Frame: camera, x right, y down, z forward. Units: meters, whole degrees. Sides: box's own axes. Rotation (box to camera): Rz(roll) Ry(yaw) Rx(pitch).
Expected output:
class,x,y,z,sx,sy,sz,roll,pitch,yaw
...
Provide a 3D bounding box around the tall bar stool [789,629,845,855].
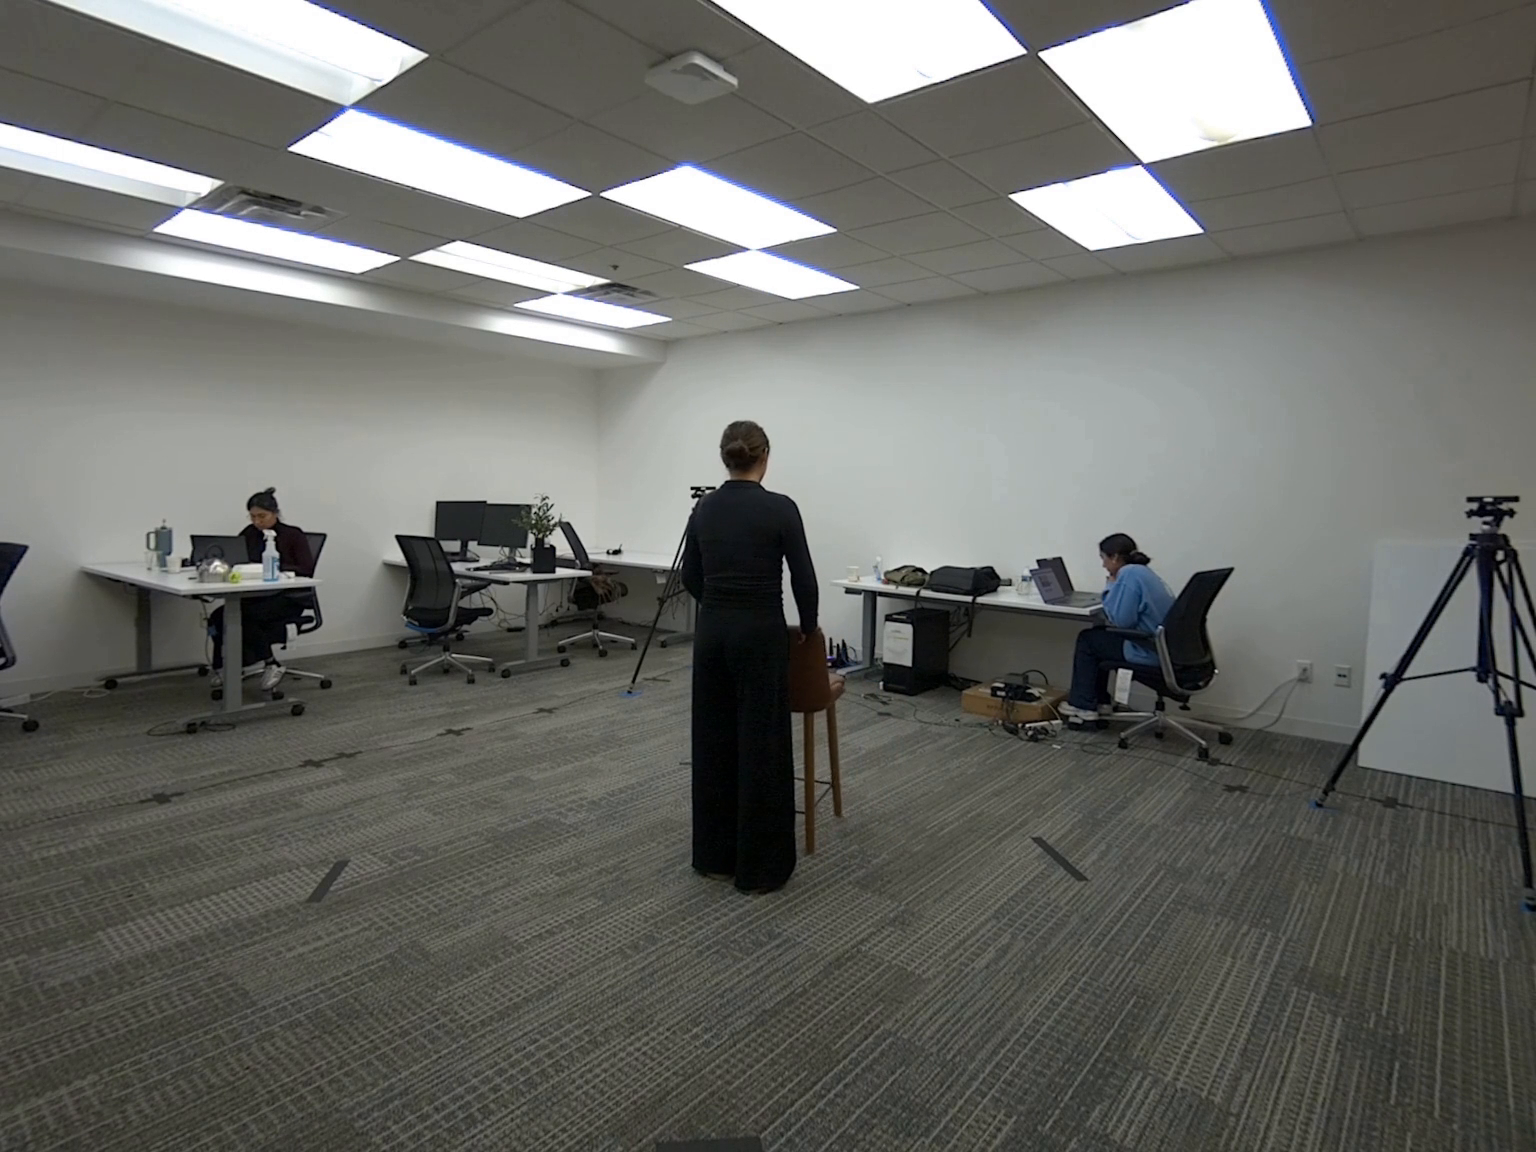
class,x,y,z,sx,sy,sz,roll,pitch,yaw
tall bar stool,0.054,0.593,3.478,0.466,0.885,0.460,2,6,20
